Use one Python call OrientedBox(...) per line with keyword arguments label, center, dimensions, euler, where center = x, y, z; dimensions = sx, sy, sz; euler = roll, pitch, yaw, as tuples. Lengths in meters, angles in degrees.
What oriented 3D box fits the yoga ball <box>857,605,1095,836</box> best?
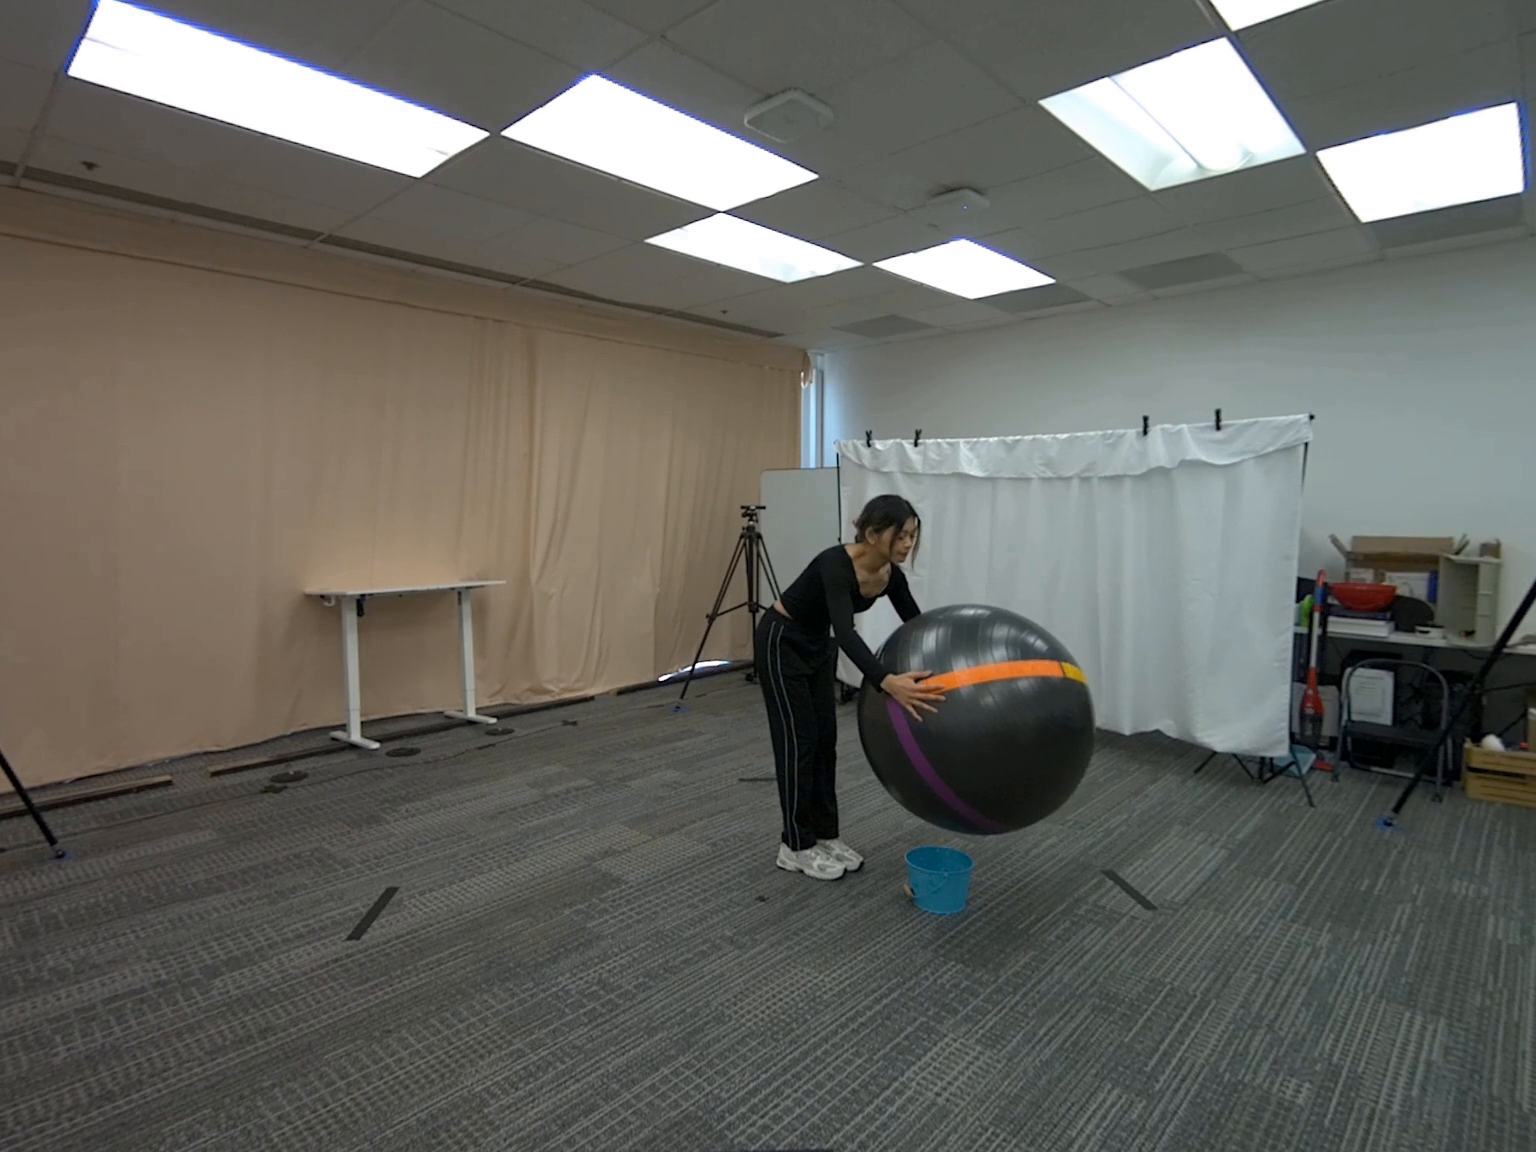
OrientedBox(label="yoga ball", center=(0.695, 0.478, 2.821), dimensions=(0.757, 0.756, 0.760), euler=(0, 4, -2))
